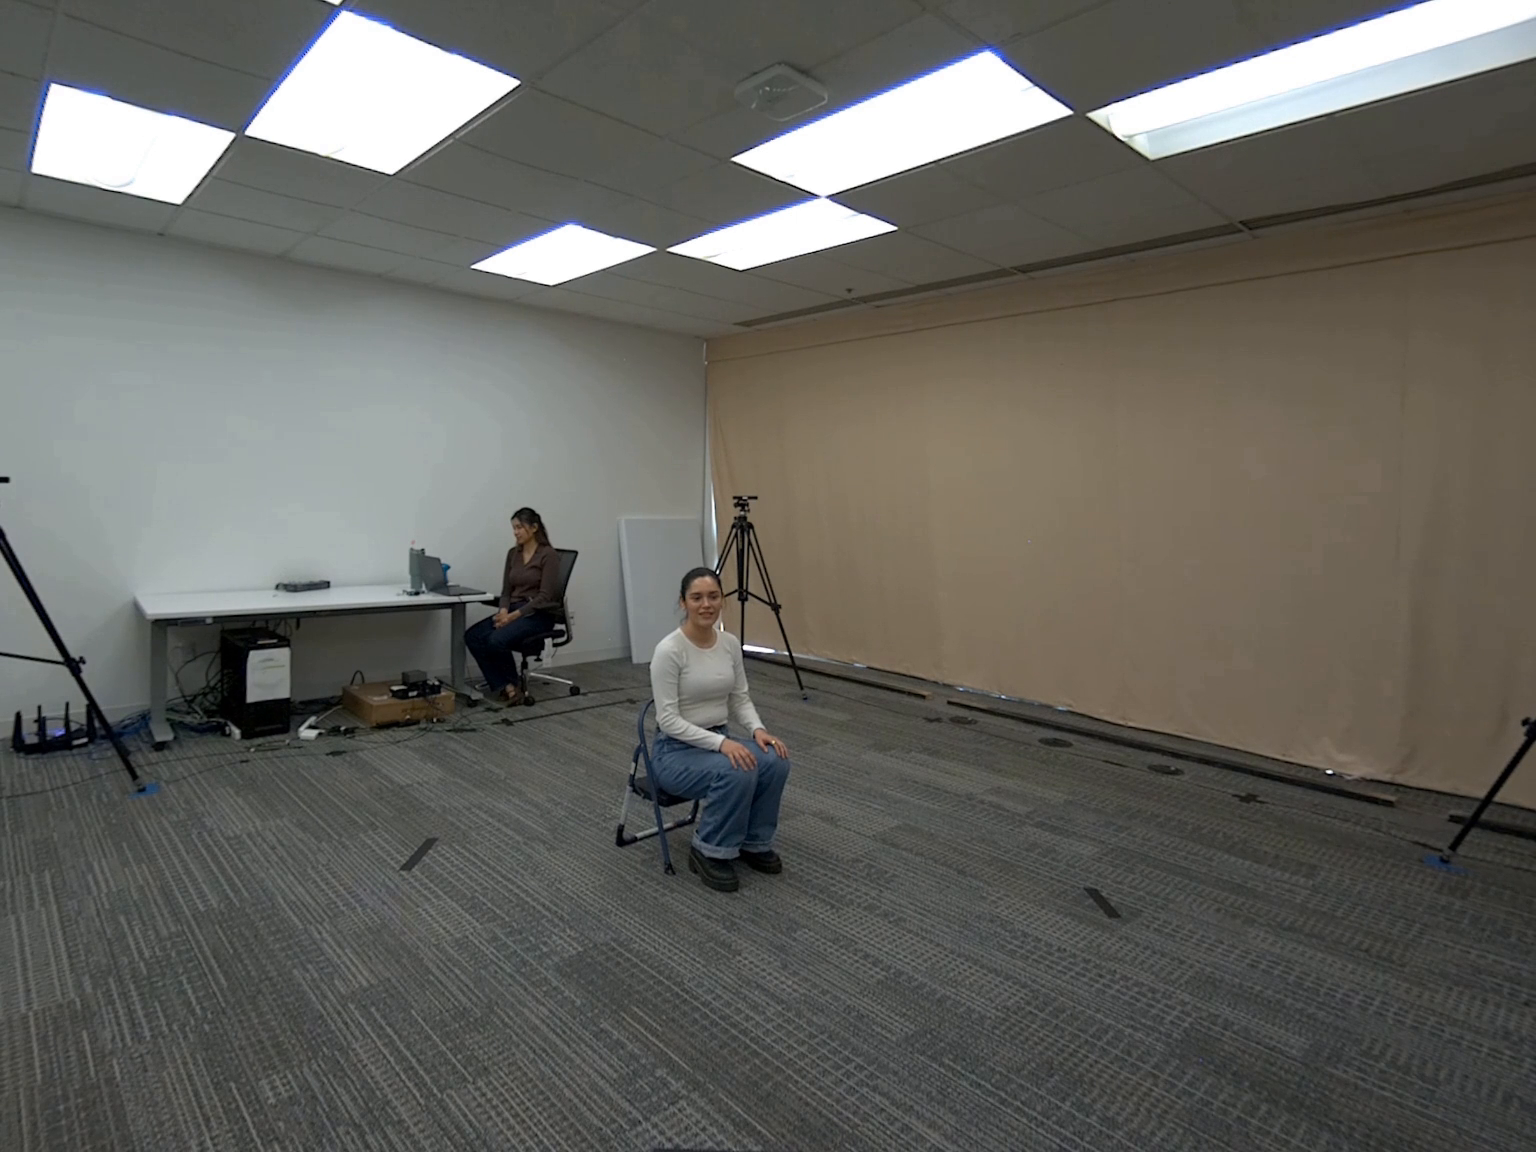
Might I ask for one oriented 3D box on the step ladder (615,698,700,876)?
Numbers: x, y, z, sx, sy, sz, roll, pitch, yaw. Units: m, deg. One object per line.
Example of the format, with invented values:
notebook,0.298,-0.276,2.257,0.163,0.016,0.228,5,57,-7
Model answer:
step ladder,-0.342,0.773,3.348,0.358,0.605,0.421,5,4,44
